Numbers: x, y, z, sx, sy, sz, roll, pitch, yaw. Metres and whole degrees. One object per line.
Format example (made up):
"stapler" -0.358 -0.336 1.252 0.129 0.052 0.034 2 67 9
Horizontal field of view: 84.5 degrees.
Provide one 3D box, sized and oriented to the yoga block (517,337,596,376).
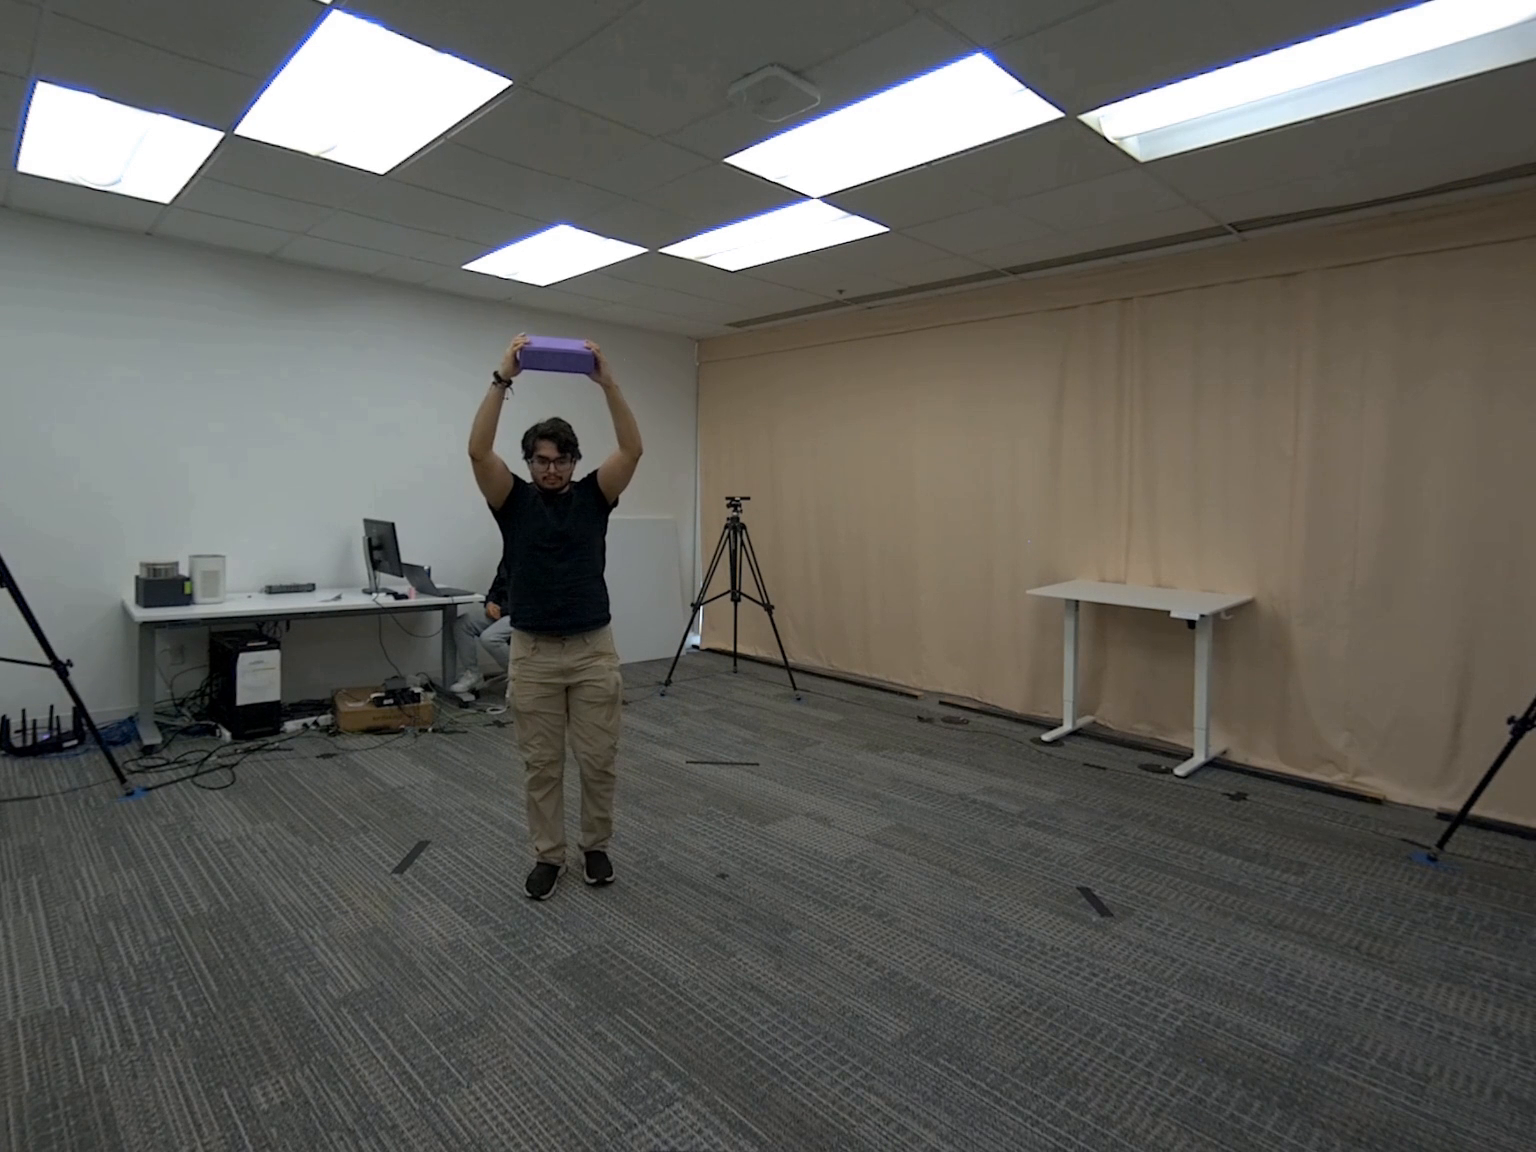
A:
"yoga block" -0.692 -0.717 2.716 0.227 0.075 0.152 2 29 -12
